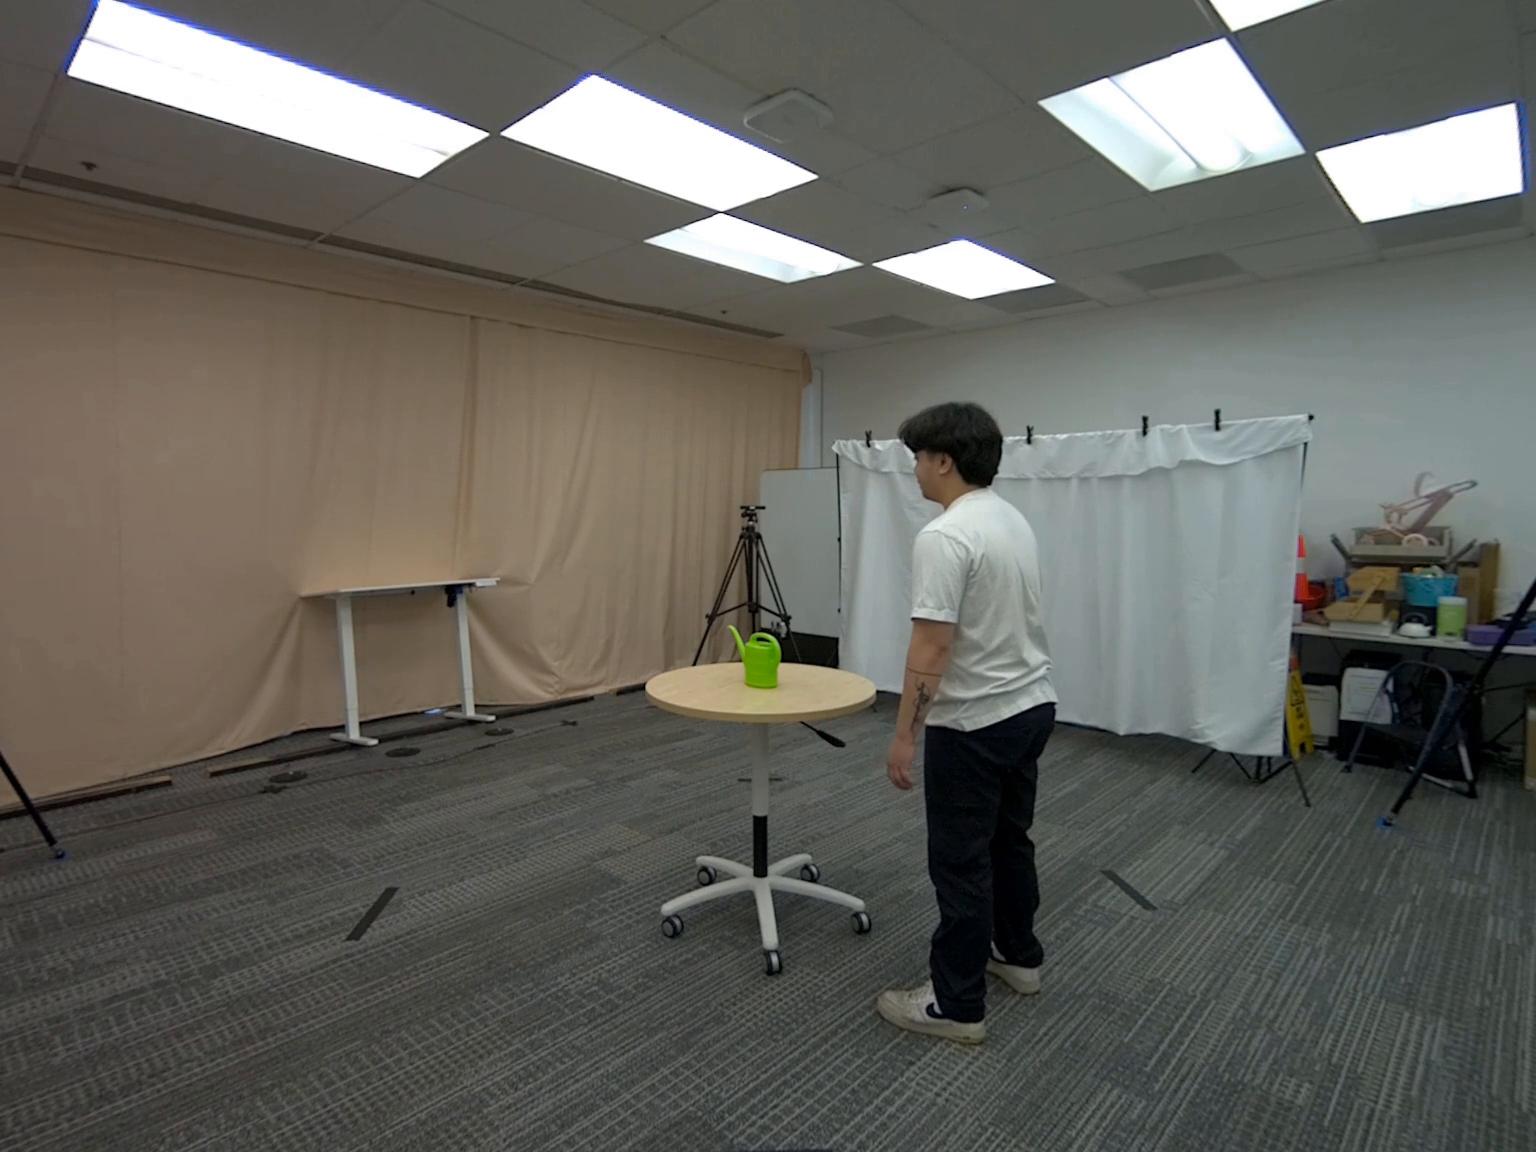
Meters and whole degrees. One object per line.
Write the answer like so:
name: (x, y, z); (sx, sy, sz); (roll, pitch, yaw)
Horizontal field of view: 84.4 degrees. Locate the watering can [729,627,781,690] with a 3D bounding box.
watering can: (-0.033, 0.274, 2.851); (0.096, 0.176, 0.285); (2, 5, -25)
